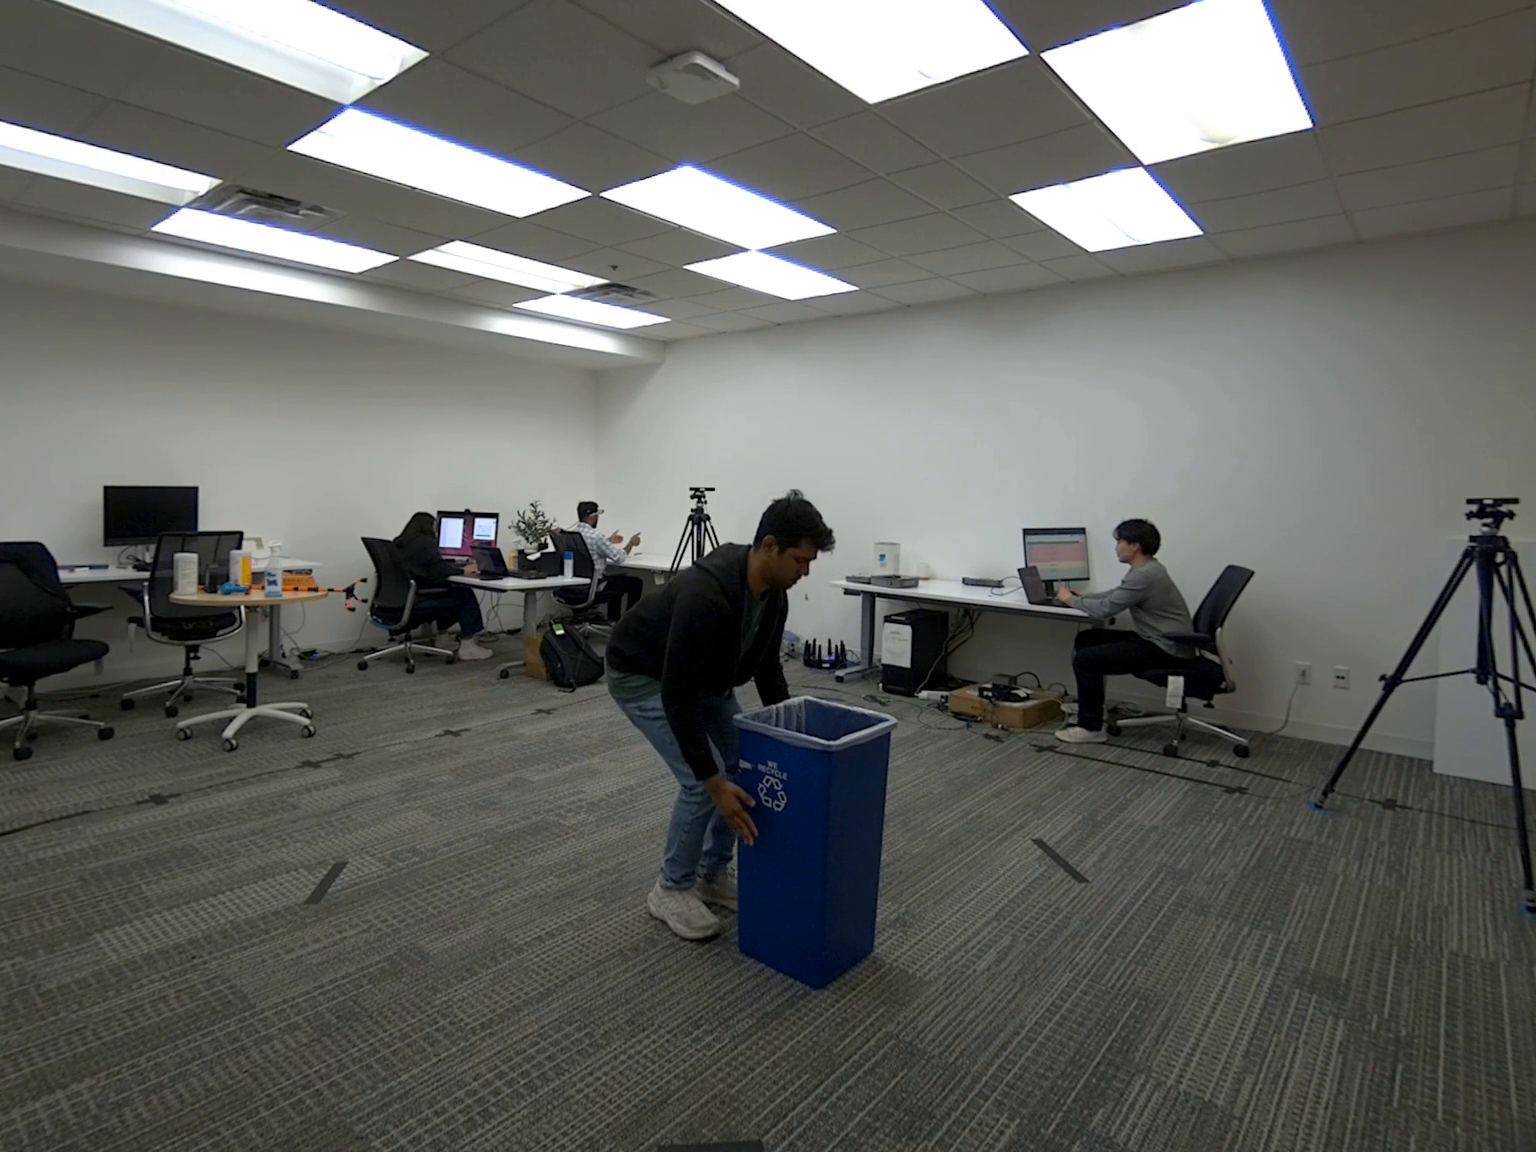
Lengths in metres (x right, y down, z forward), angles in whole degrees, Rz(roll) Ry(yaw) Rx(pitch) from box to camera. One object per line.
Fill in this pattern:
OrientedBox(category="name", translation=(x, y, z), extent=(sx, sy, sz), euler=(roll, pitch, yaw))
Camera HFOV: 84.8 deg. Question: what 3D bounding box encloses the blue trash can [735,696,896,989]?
OrientedBox(category="blue trash can", translation=(0.129, 0.772, 2.544), extent=(0.387, 0.711, 0.367), euler=(5, 5, 39))
